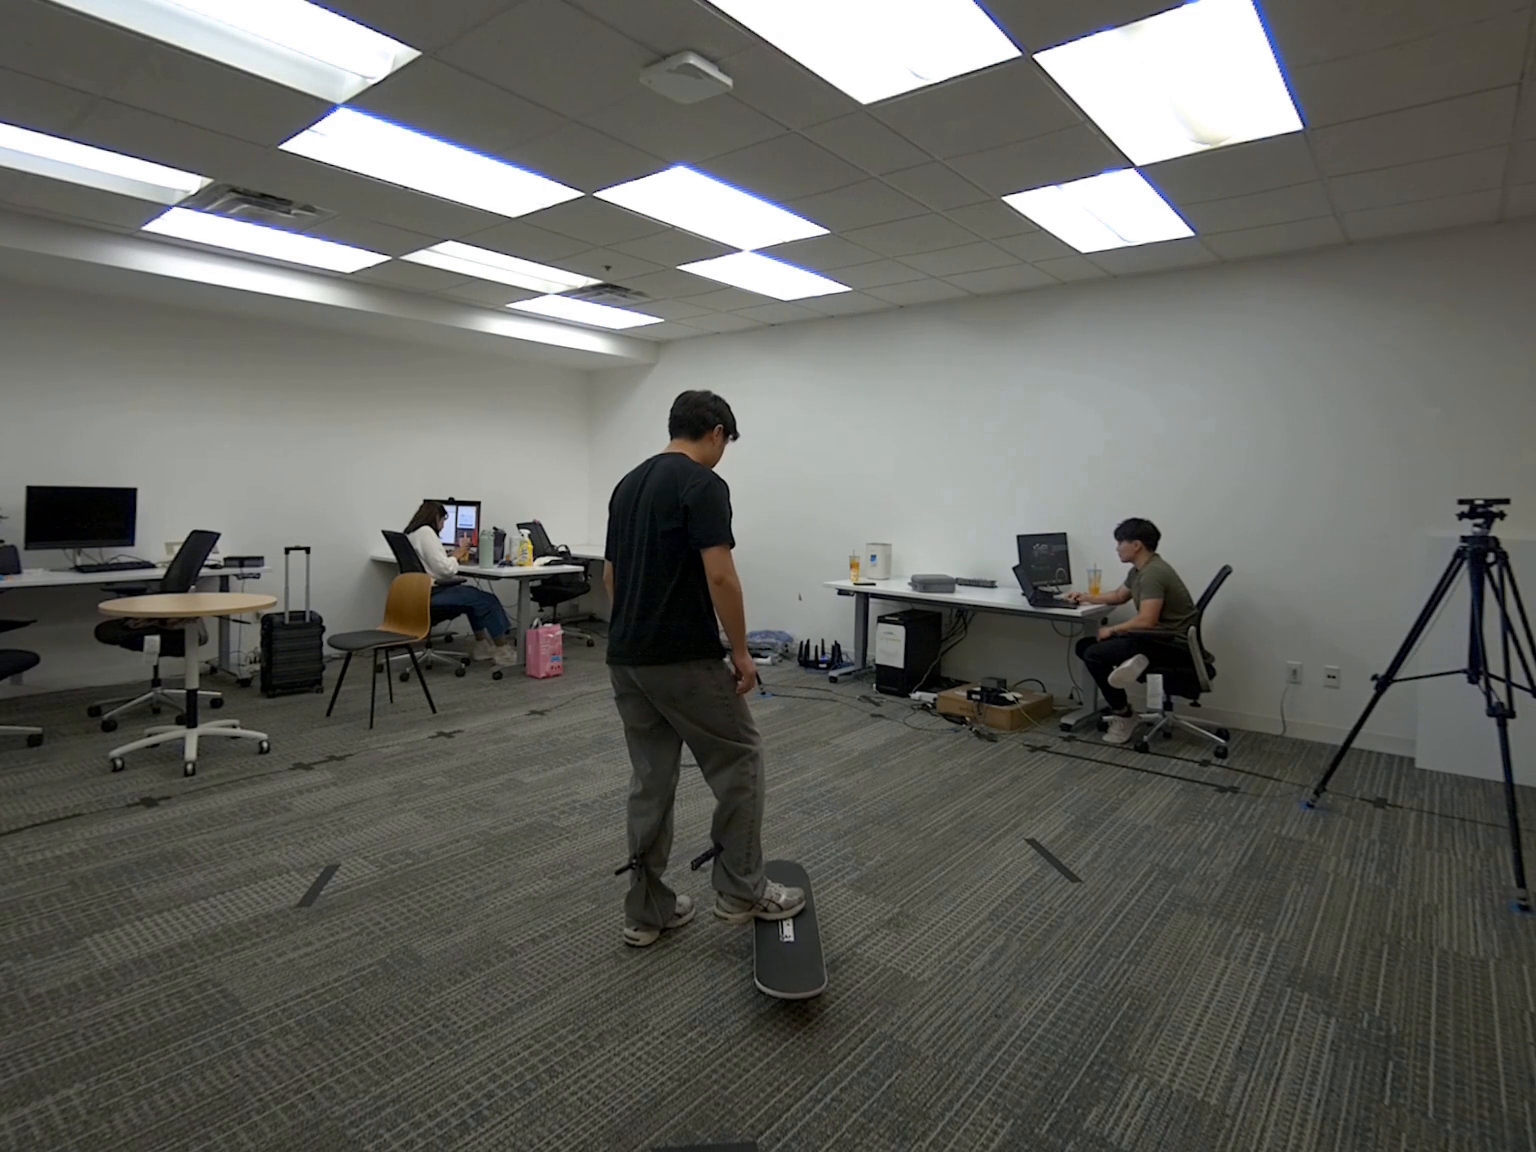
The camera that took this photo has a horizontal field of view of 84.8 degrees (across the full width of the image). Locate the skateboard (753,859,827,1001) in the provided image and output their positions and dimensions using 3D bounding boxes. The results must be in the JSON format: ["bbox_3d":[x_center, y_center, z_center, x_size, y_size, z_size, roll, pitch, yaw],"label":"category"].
[{"bbox_3d":[0.042,1.067,2.561,0.193,0.110,0.788,0,6,-1],"label":"skateboard"}]
